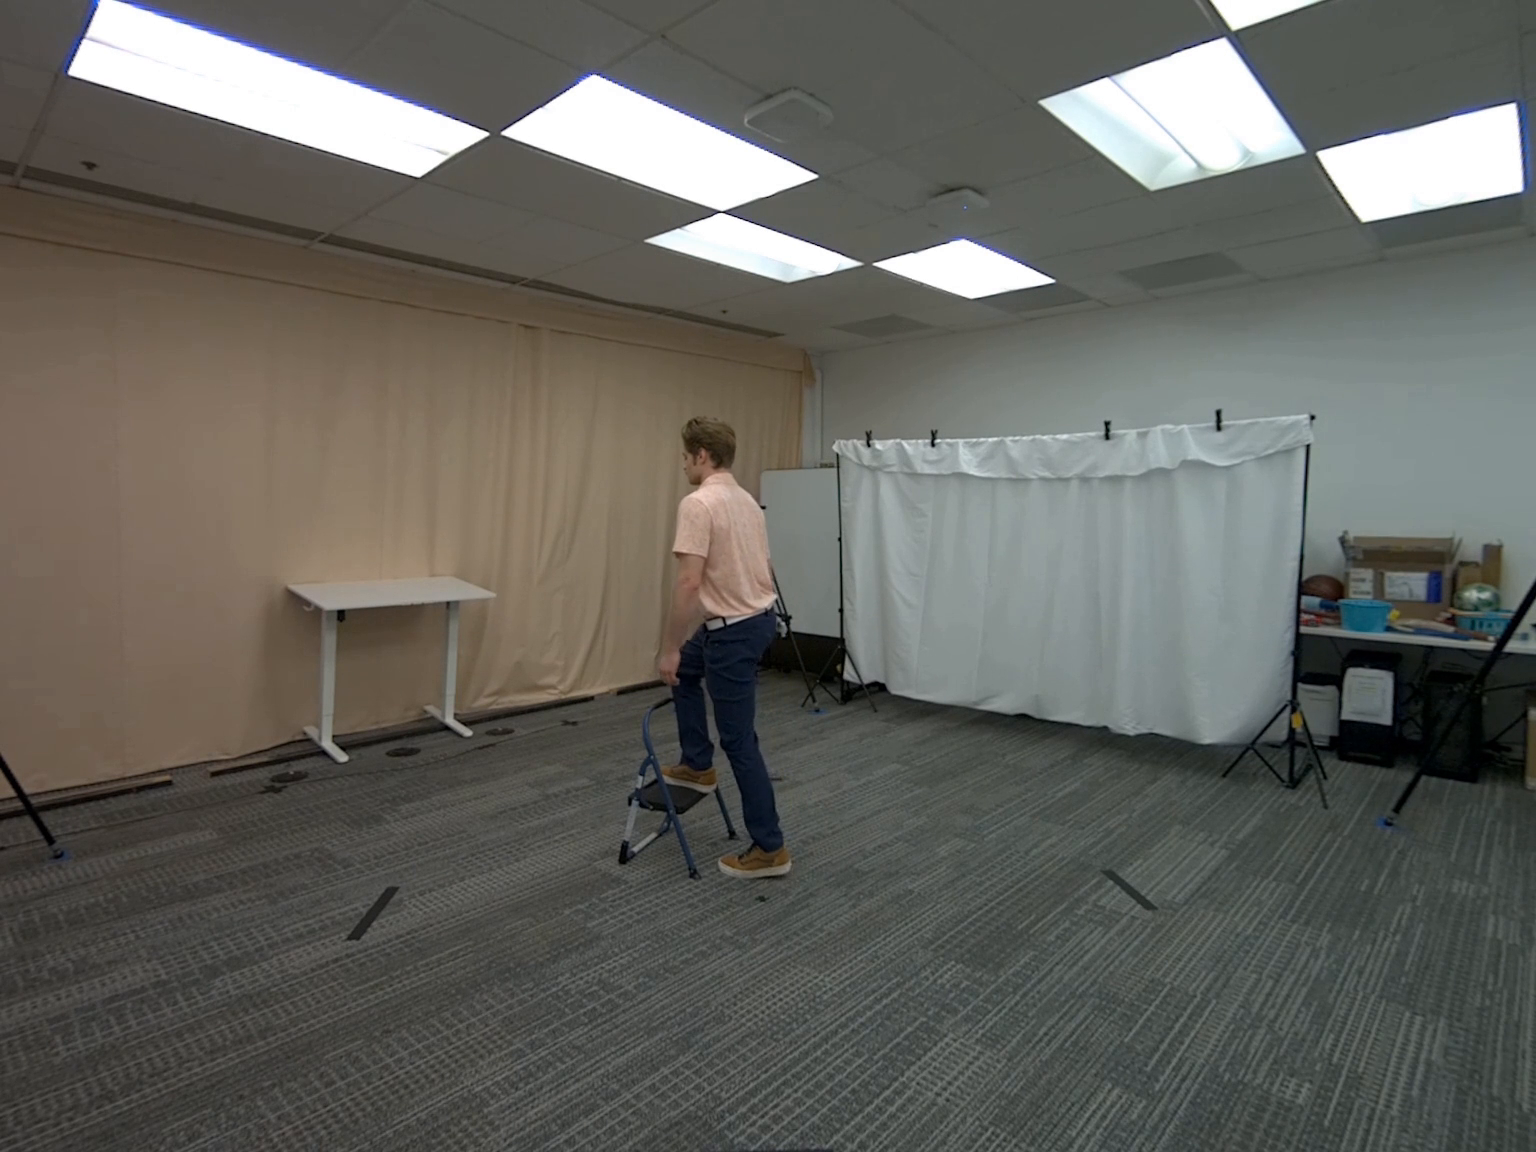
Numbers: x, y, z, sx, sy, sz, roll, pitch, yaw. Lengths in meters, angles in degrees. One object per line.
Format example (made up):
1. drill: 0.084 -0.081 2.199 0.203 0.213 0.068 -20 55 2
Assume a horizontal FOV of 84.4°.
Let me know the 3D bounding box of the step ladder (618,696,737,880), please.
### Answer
1. step ladder: -0.362 0.812 3.391 0.357 0.605 0.422 0 3 21
